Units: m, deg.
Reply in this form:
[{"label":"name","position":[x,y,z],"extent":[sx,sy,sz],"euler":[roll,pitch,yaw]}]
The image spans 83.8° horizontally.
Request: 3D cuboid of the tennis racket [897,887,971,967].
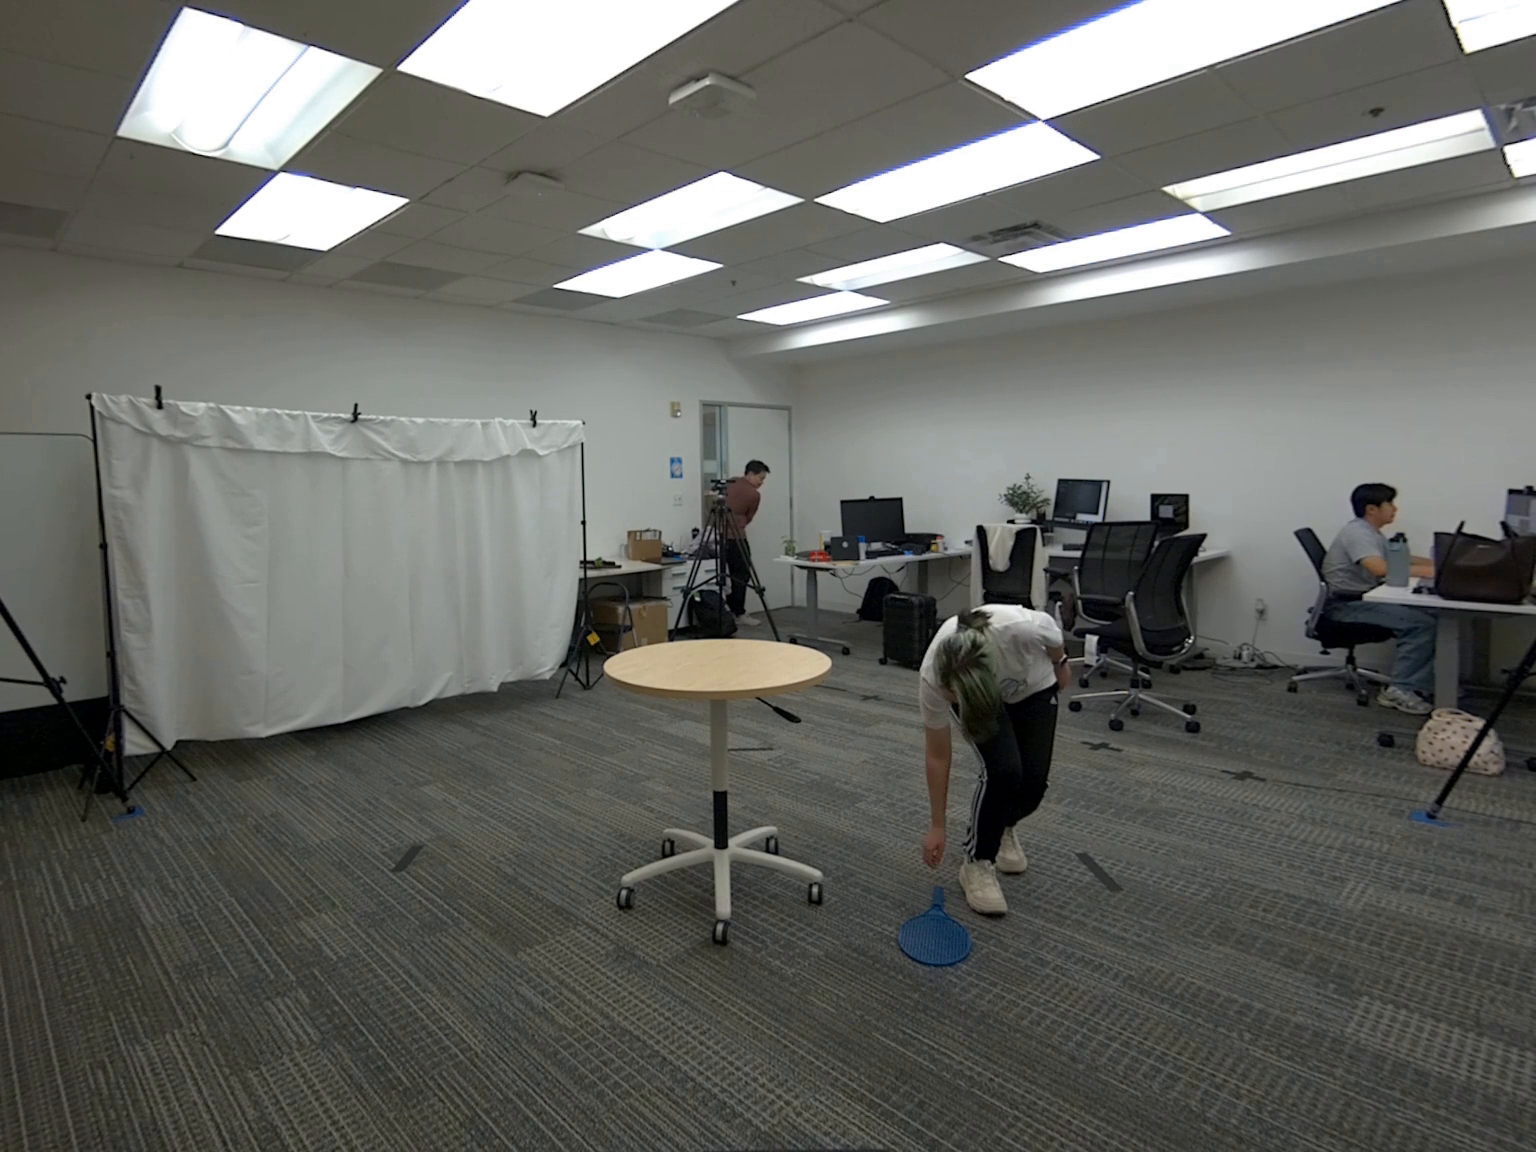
[{"label":"tennis racket","position":[0.520,1.075,2.642],"extent":[0.217,0.031,0.429],"euler":[0,8,15]}]
